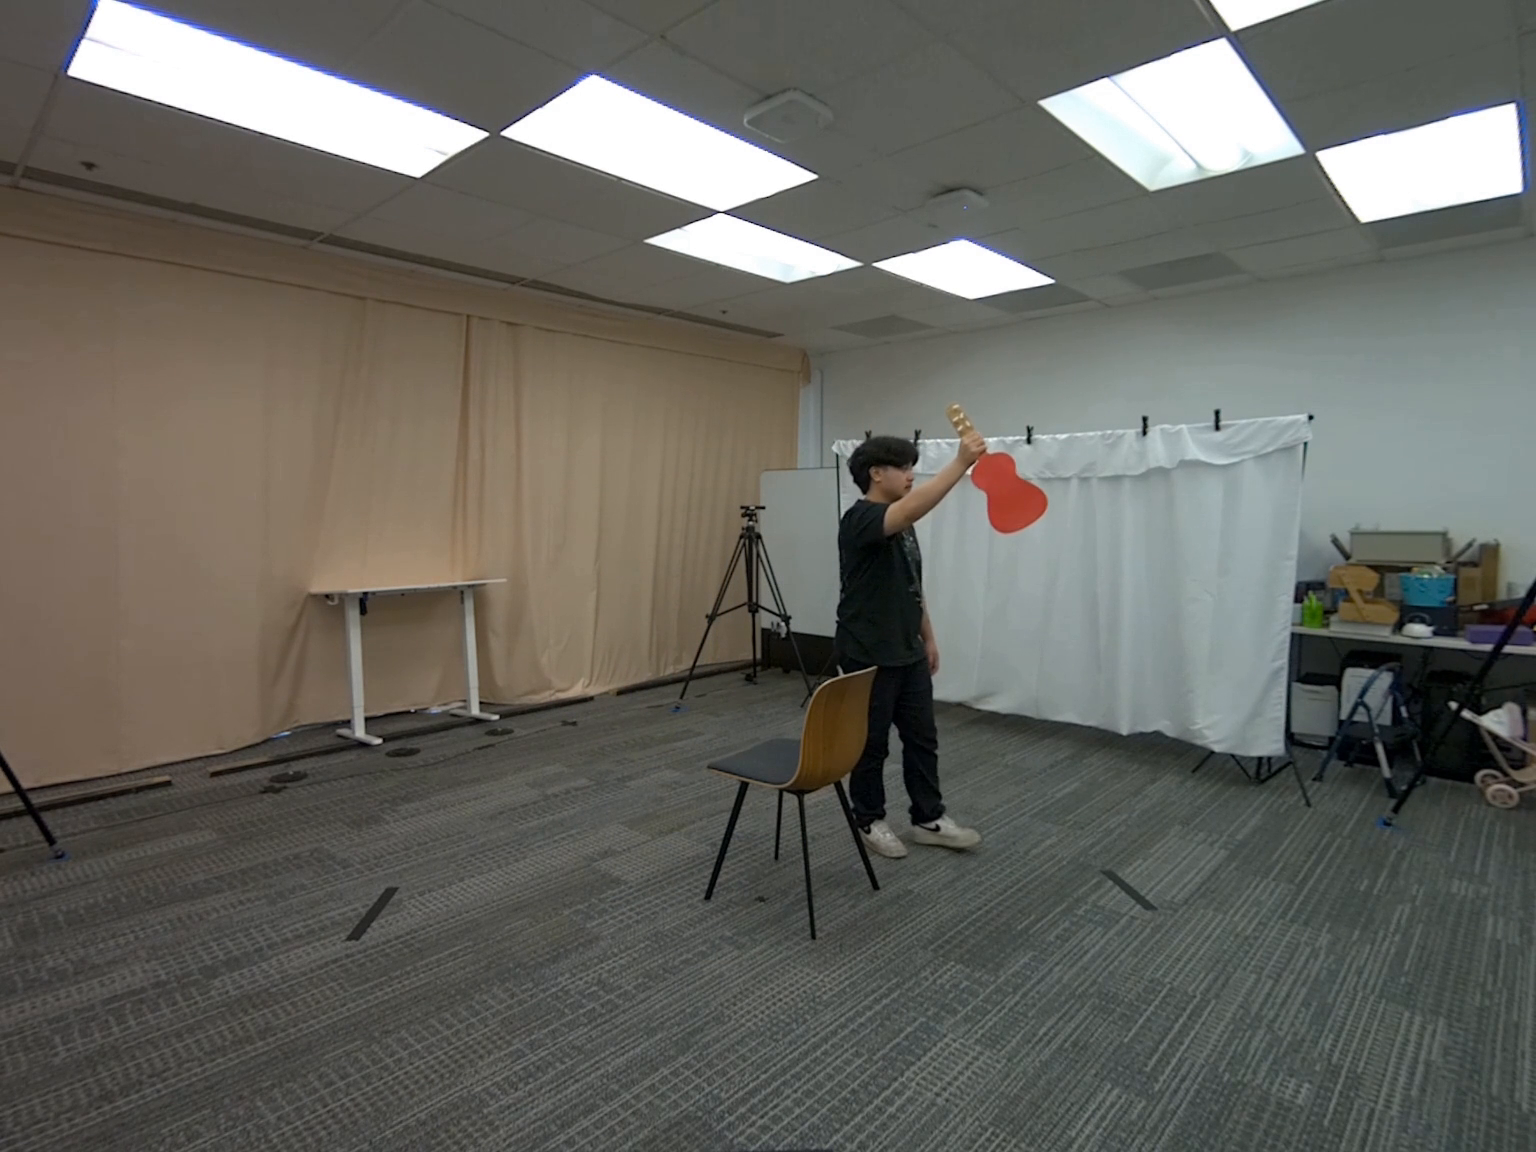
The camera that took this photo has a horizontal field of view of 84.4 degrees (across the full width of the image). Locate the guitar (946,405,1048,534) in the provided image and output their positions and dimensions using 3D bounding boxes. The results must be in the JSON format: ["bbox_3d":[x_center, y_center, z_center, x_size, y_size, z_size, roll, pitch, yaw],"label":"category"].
[{"bbox_3d":[0.730,-0.355,2.847,0.194,0.507,0.069,-39,-17,12],"label":"guitar"}]
